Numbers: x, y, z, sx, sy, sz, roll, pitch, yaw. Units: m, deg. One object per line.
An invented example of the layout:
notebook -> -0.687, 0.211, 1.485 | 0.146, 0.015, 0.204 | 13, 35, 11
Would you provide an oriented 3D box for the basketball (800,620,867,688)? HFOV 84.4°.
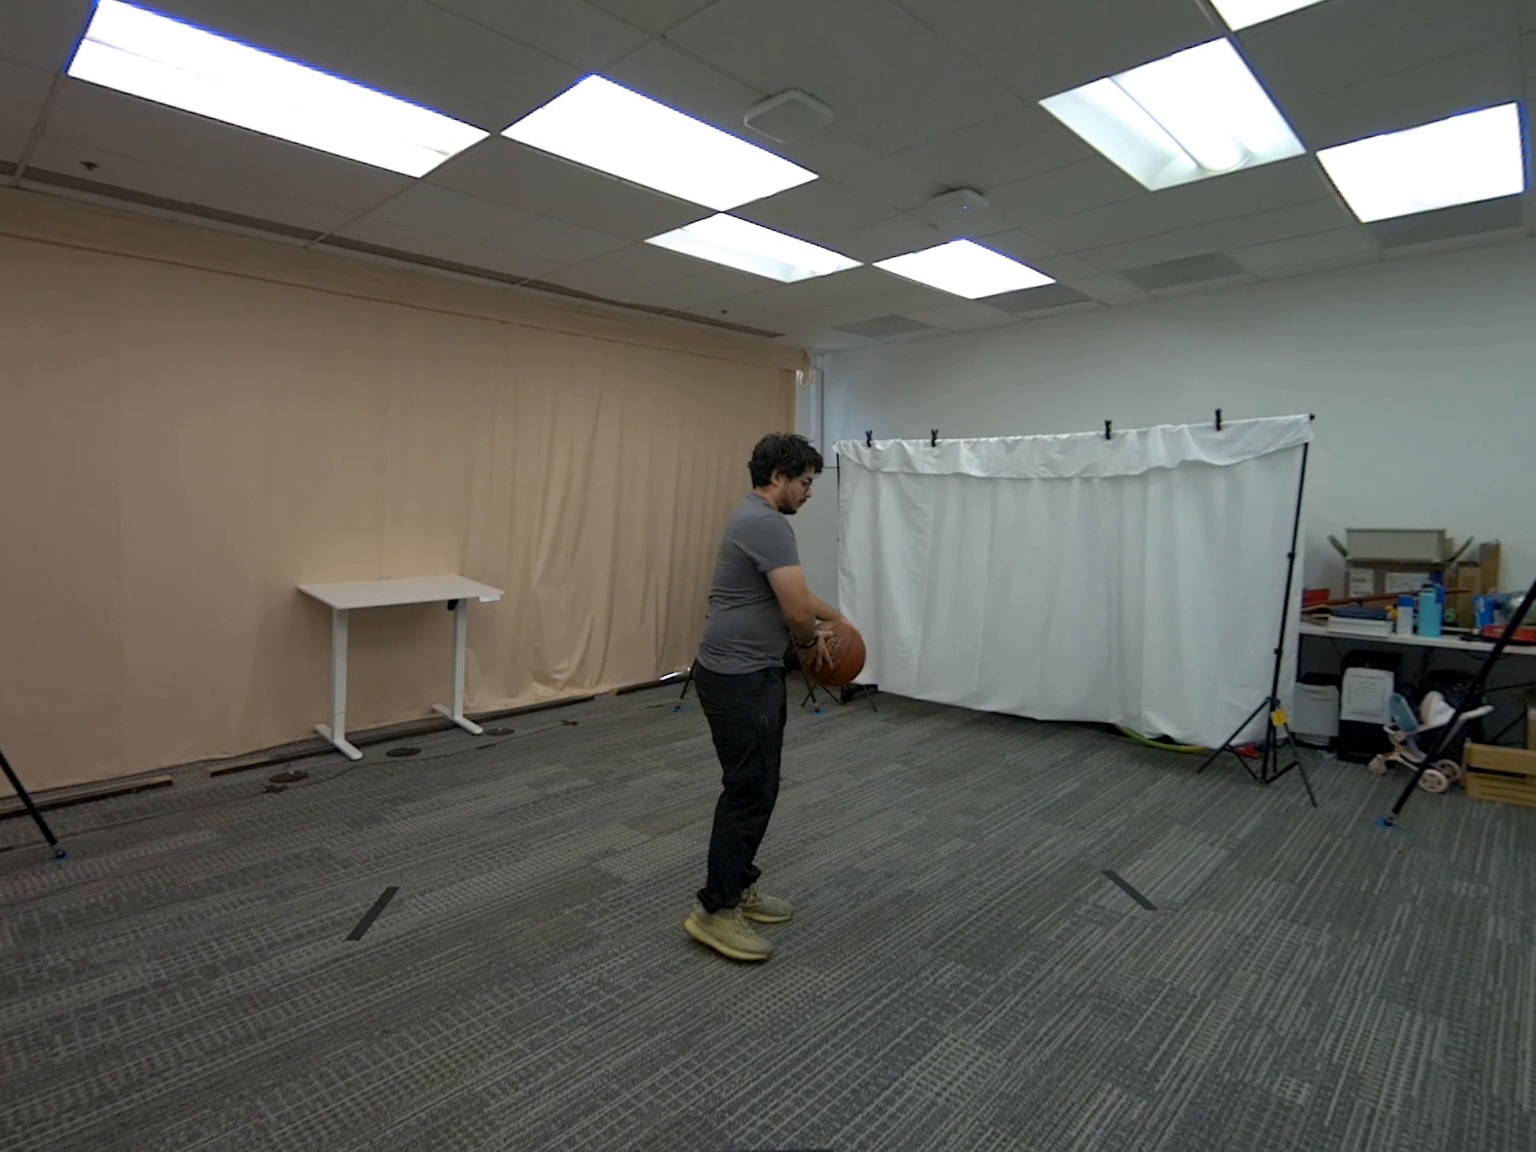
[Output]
basketball -> 0.240, 0.277, 3.059 | 0.236, 0.235, 0.237 | 0, 4, -2
